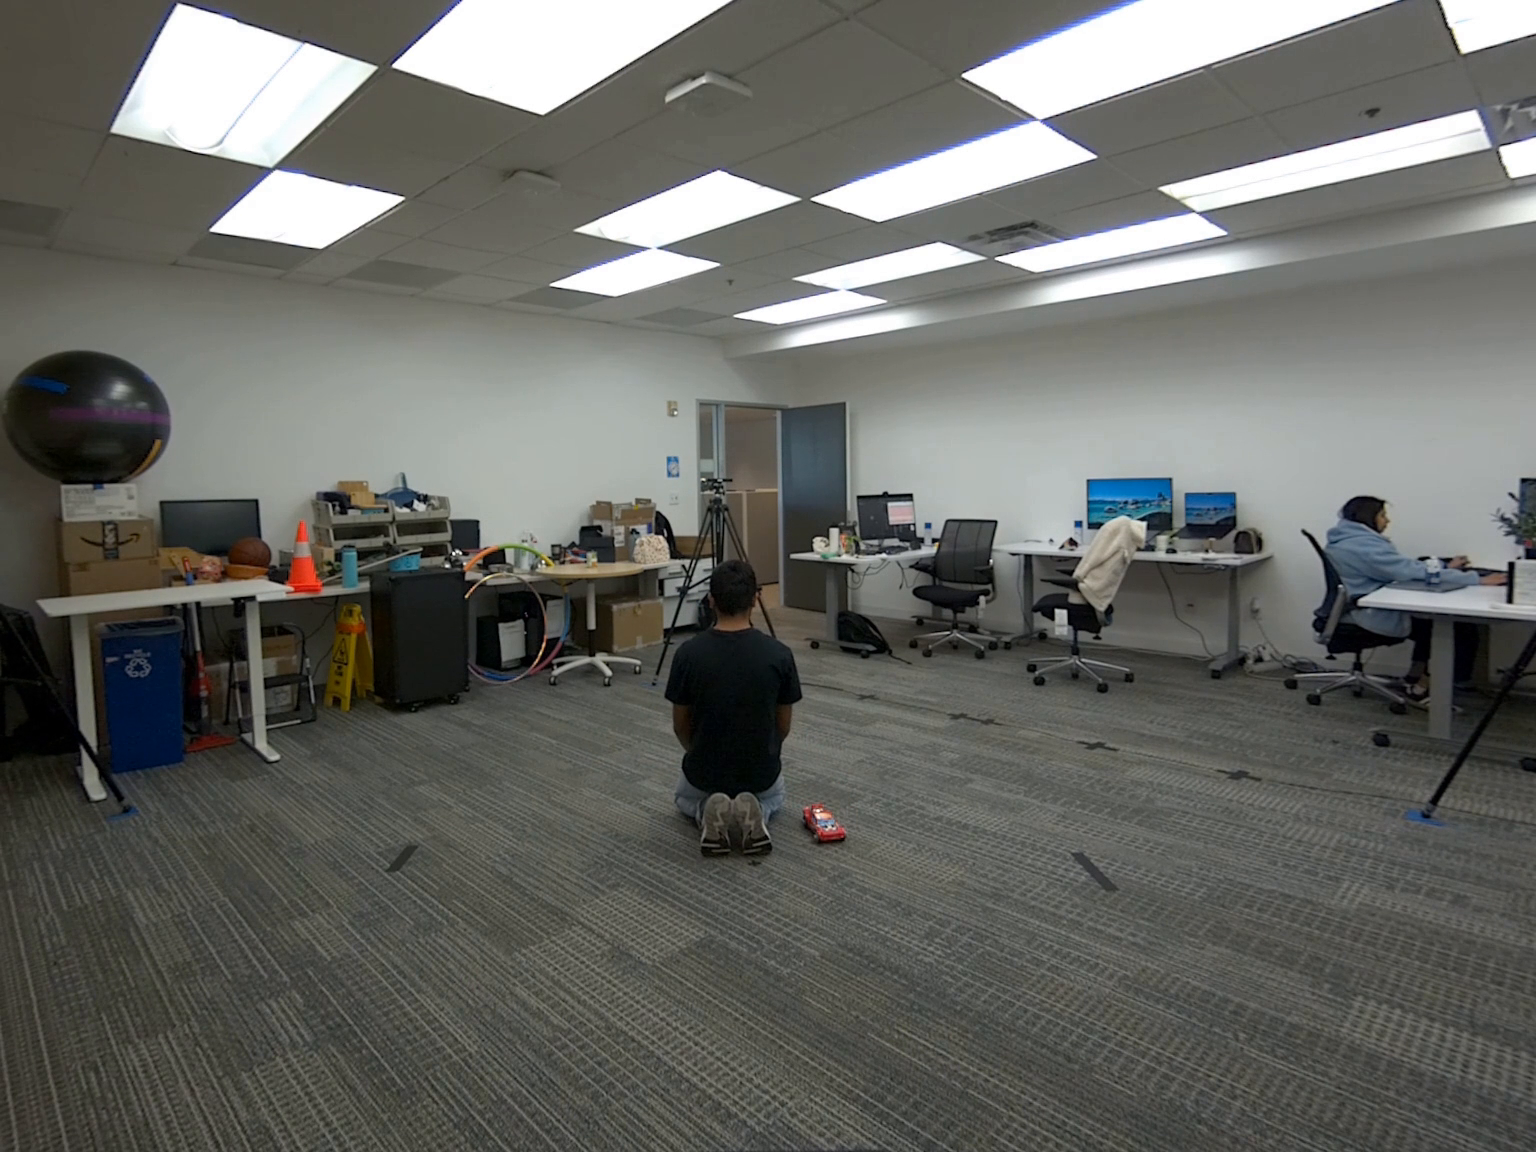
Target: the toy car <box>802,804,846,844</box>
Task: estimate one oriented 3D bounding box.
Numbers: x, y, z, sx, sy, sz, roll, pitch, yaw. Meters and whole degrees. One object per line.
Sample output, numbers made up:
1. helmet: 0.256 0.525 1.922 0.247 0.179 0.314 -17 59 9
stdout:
1. toy car: 0.212 0.971 3.371 0.129 0.082 0.261 -2 16 -14
